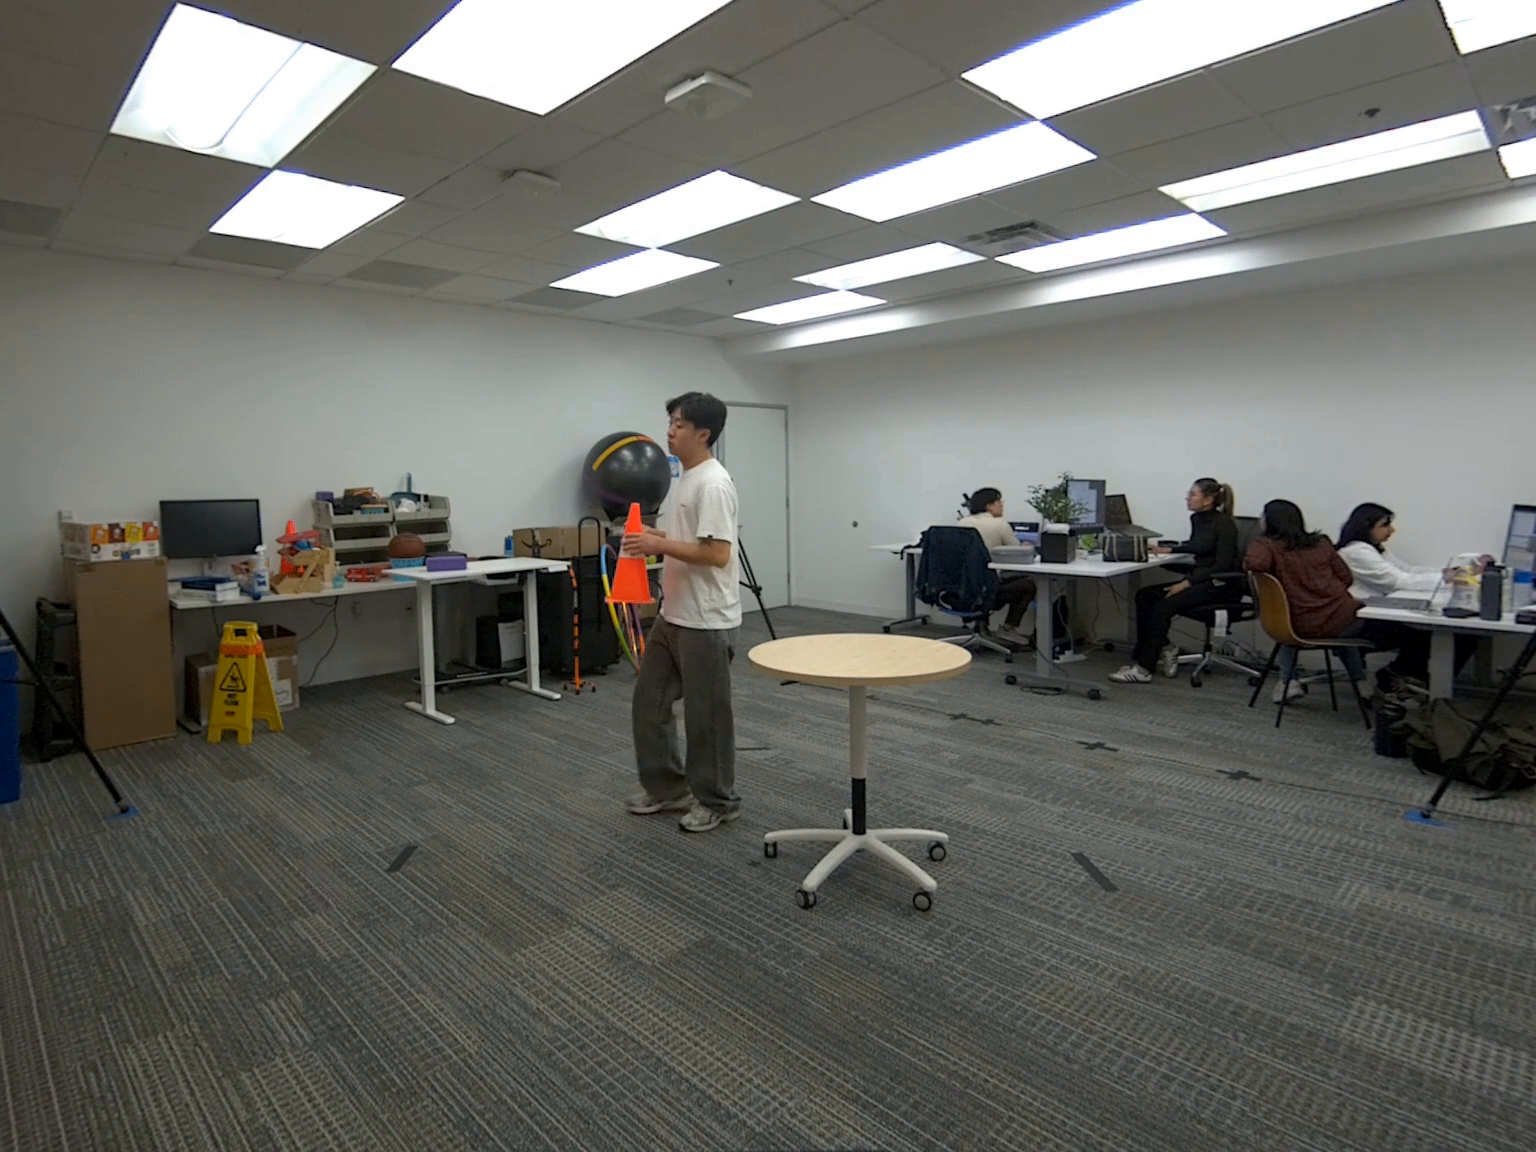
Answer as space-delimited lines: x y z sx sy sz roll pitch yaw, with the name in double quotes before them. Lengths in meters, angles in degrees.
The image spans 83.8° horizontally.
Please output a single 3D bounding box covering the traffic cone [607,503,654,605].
"traffic cone" -0.532 -0.093 3.377 0.208 0.382 0.201 3 5 22
